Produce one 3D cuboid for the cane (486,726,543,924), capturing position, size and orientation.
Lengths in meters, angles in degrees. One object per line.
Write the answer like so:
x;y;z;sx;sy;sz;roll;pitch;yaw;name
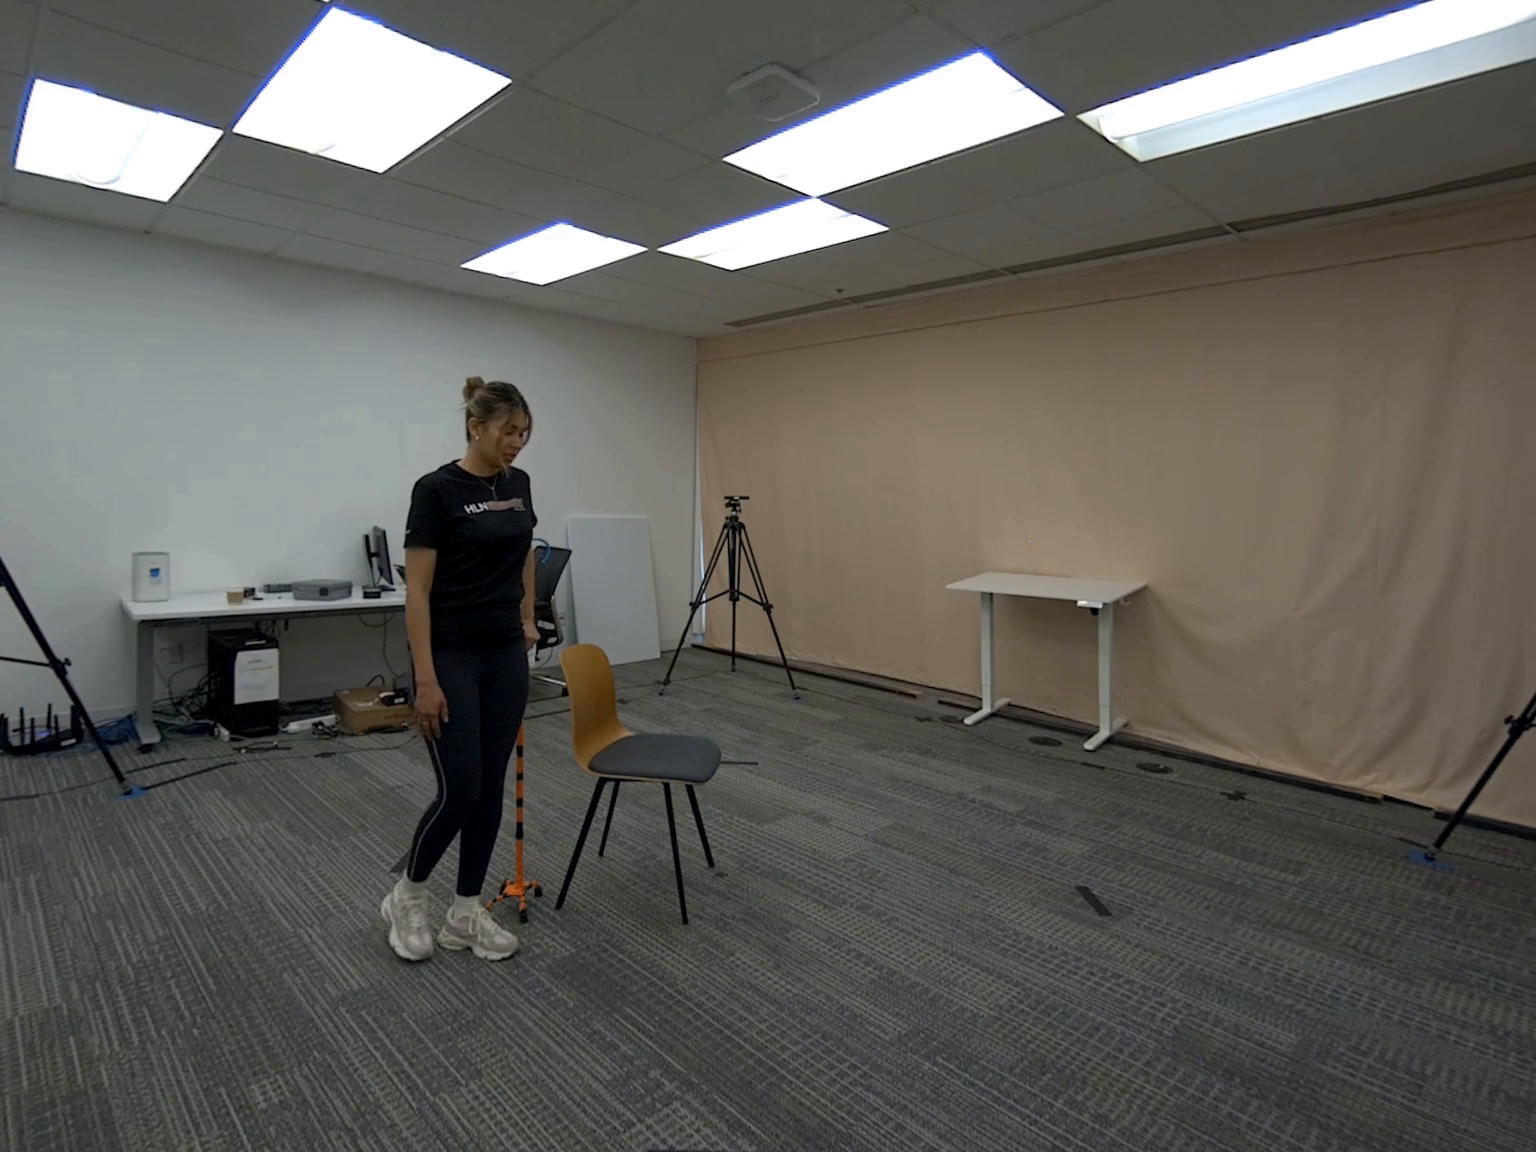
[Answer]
-0.841;0.657;2.812;0.150;0.907;0.208;1;1;-9;cane
